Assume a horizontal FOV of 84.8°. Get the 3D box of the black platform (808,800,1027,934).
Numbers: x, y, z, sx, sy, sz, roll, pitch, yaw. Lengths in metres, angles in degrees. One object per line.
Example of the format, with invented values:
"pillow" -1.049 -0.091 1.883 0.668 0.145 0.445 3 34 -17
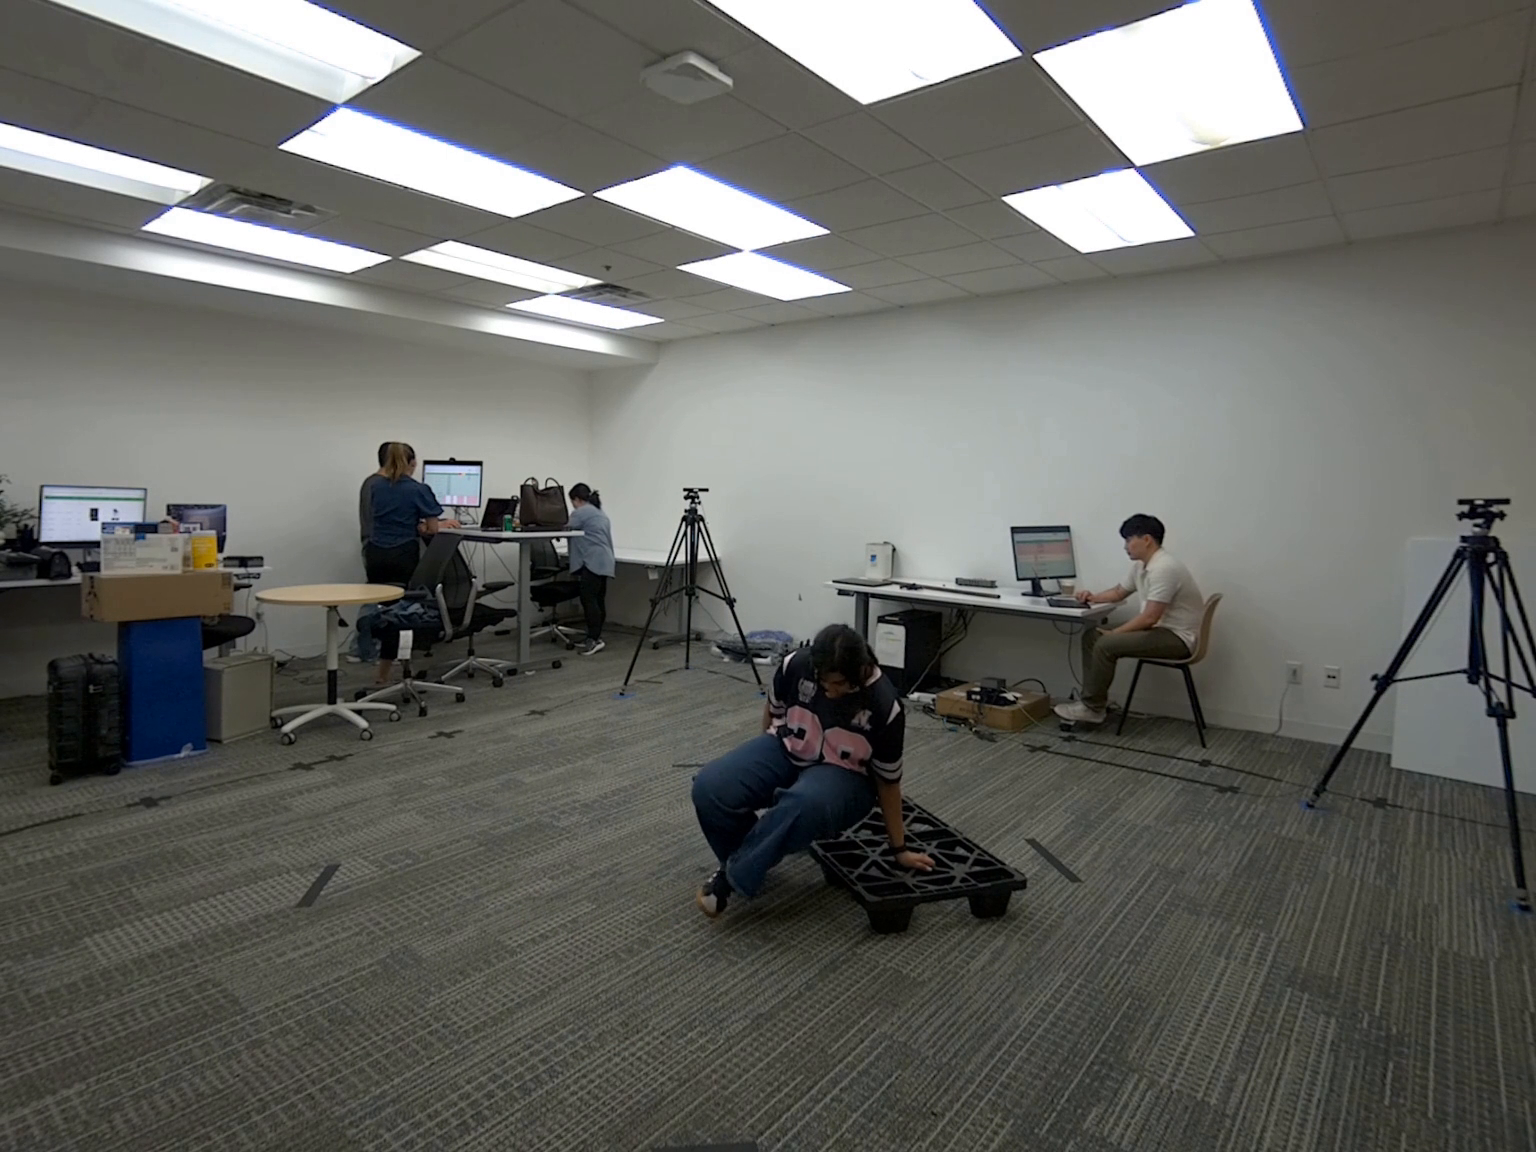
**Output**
"black platform" 0.430 1.021 3.083 0.593 0.143 0.824 -1 6 -20
